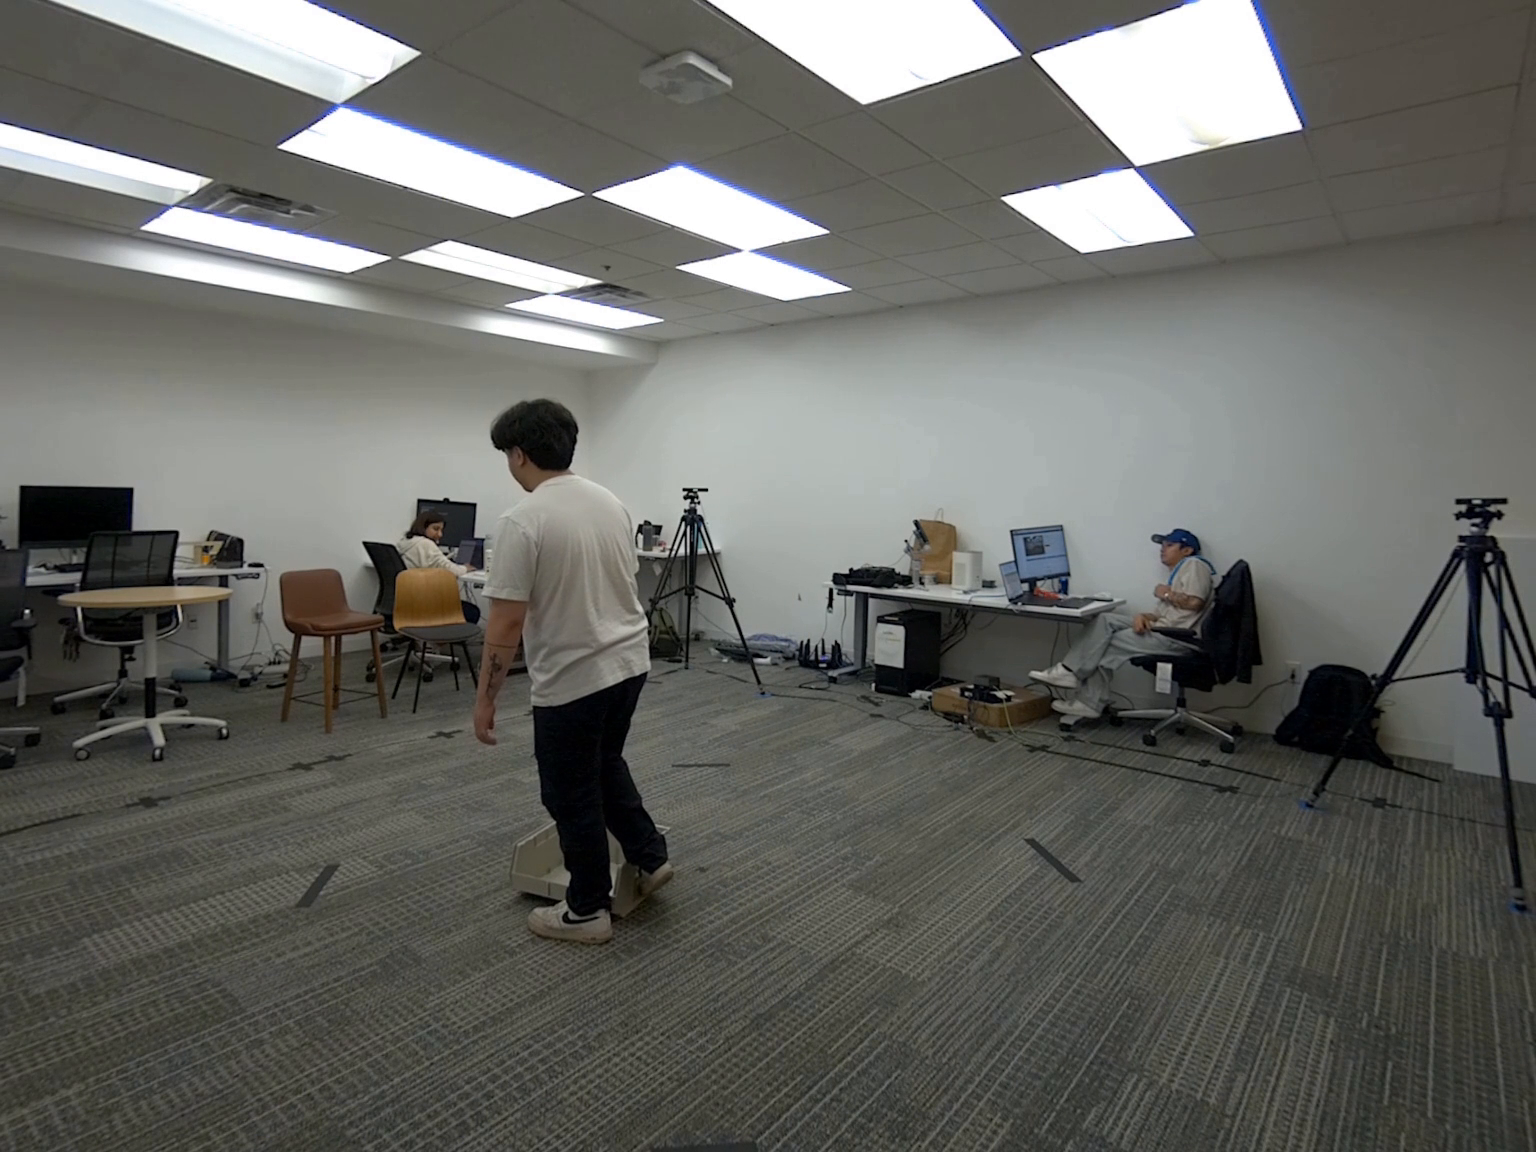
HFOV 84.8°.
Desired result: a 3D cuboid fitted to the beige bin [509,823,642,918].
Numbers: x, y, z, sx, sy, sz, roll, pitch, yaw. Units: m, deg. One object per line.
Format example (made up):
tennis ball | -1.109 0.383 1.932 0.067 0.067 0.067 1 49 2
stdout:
beige bin | -0.623 0.984 2.939 0.432 0.188 0.369 2 3 23
